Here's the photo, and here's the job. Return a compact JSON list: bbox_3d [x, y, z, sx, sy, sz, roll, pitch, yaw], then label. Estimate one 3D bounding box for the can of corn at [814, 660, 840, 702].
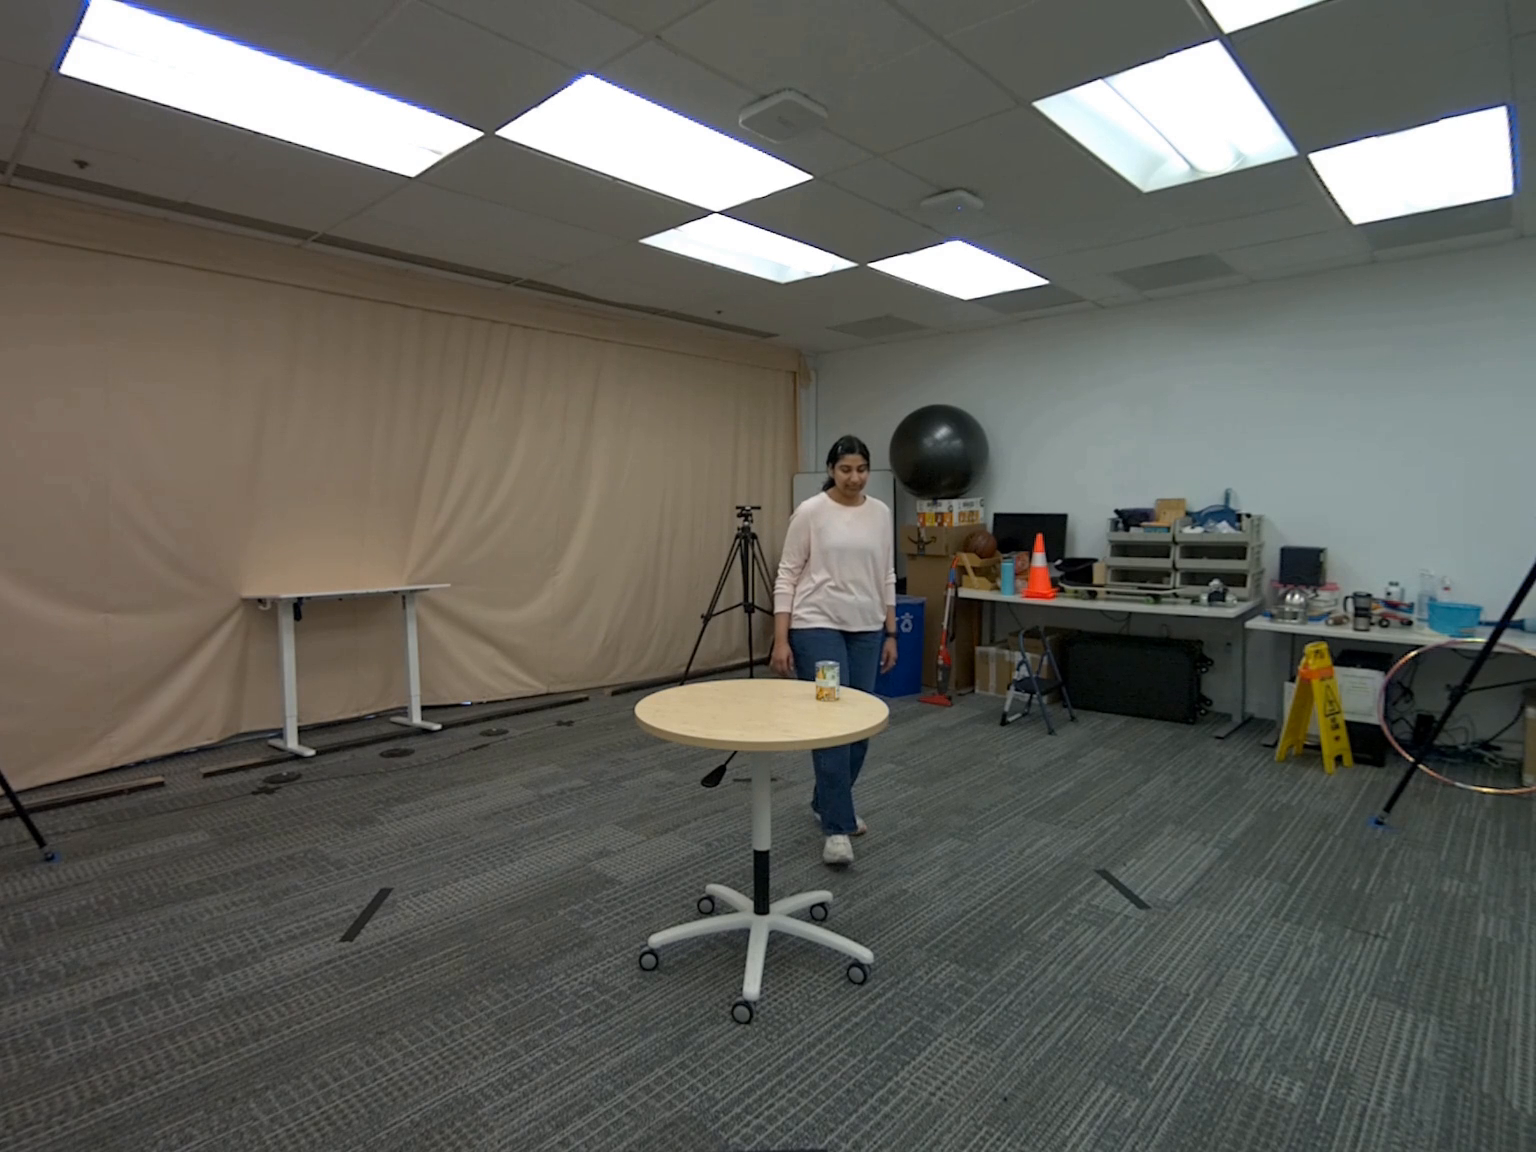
[{"bbox_3d":[0.187,0.327,2.645,0.074,0.111,0.074,3,2,-2],"label":"can of corn"}]
